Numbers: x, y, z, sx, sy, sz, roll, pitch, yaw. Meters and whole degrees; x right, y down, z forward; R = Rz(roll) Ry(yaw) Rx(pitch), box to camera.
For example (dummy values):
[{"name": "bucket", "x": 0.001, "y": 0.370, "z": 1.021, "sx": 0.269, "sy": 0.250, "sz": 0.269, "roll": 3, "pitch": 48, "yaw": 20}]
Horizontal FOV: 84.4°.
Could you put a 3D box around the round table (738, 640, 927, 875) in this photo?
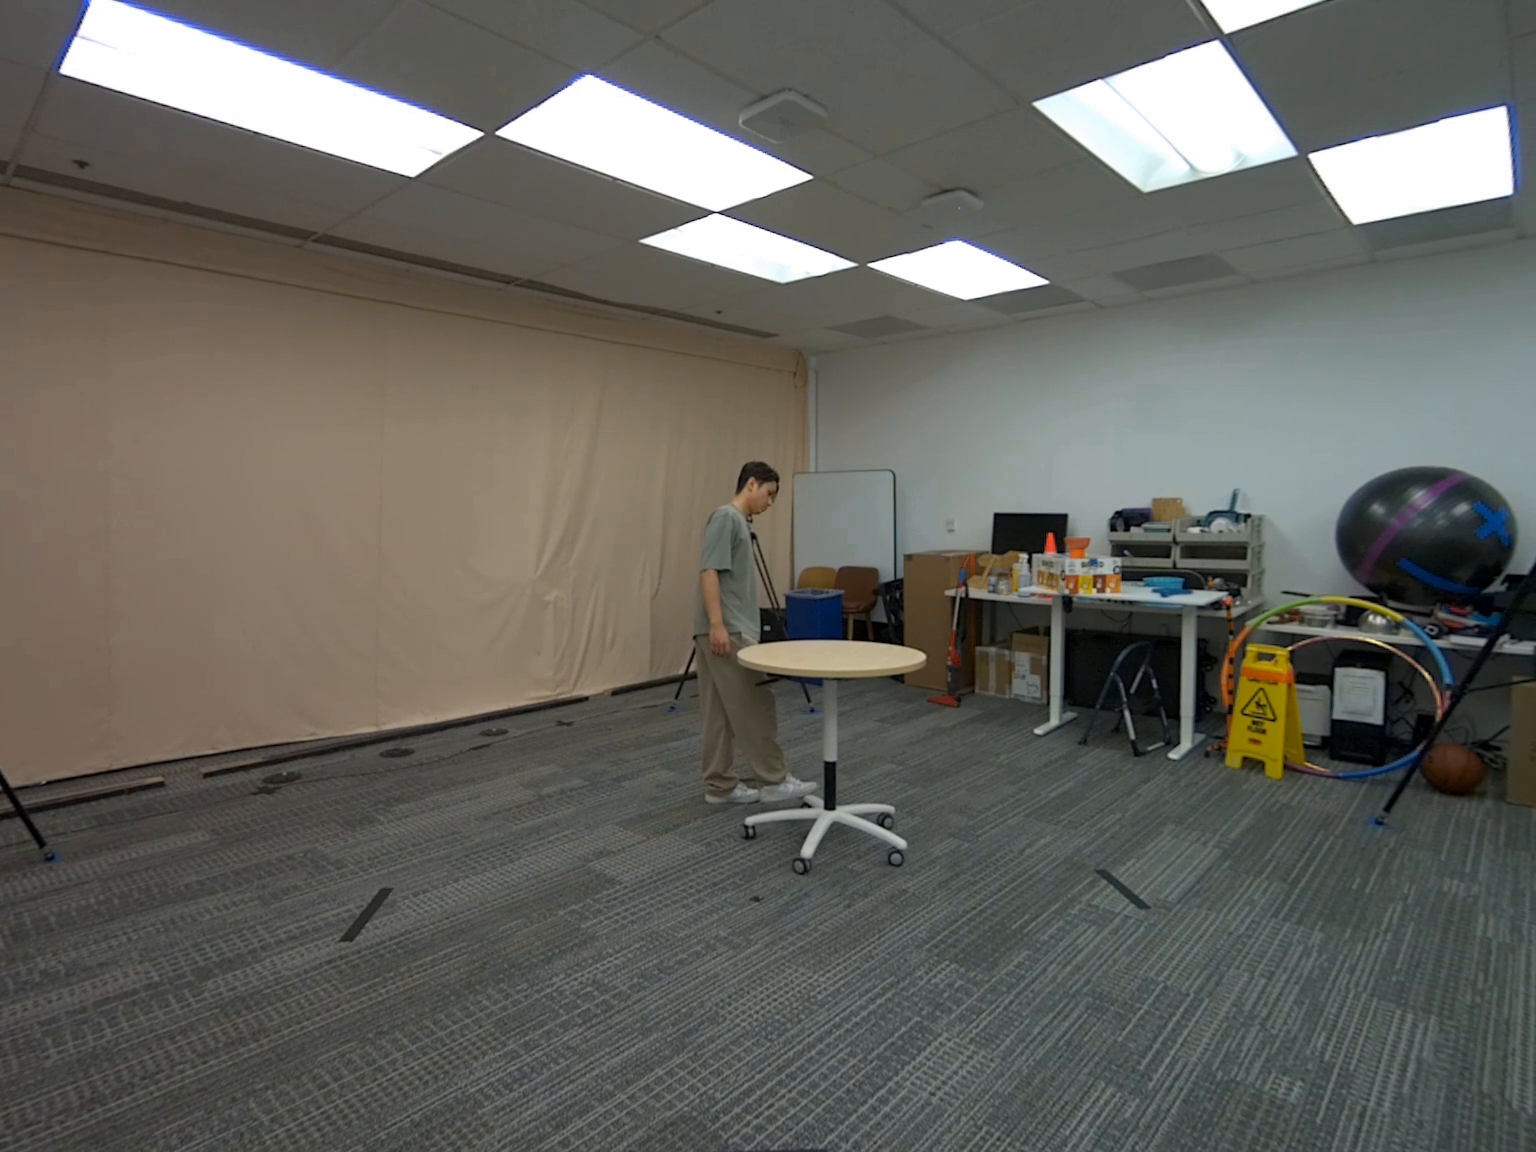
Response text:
[{"name": "round table", "x": 0.247, "y": 0.708, "z": 3.467, "sx": 0.784, "sy": 0.785, "sz": 0.787, "roll": 0, "pitch": 3, "yaw": -2}]
